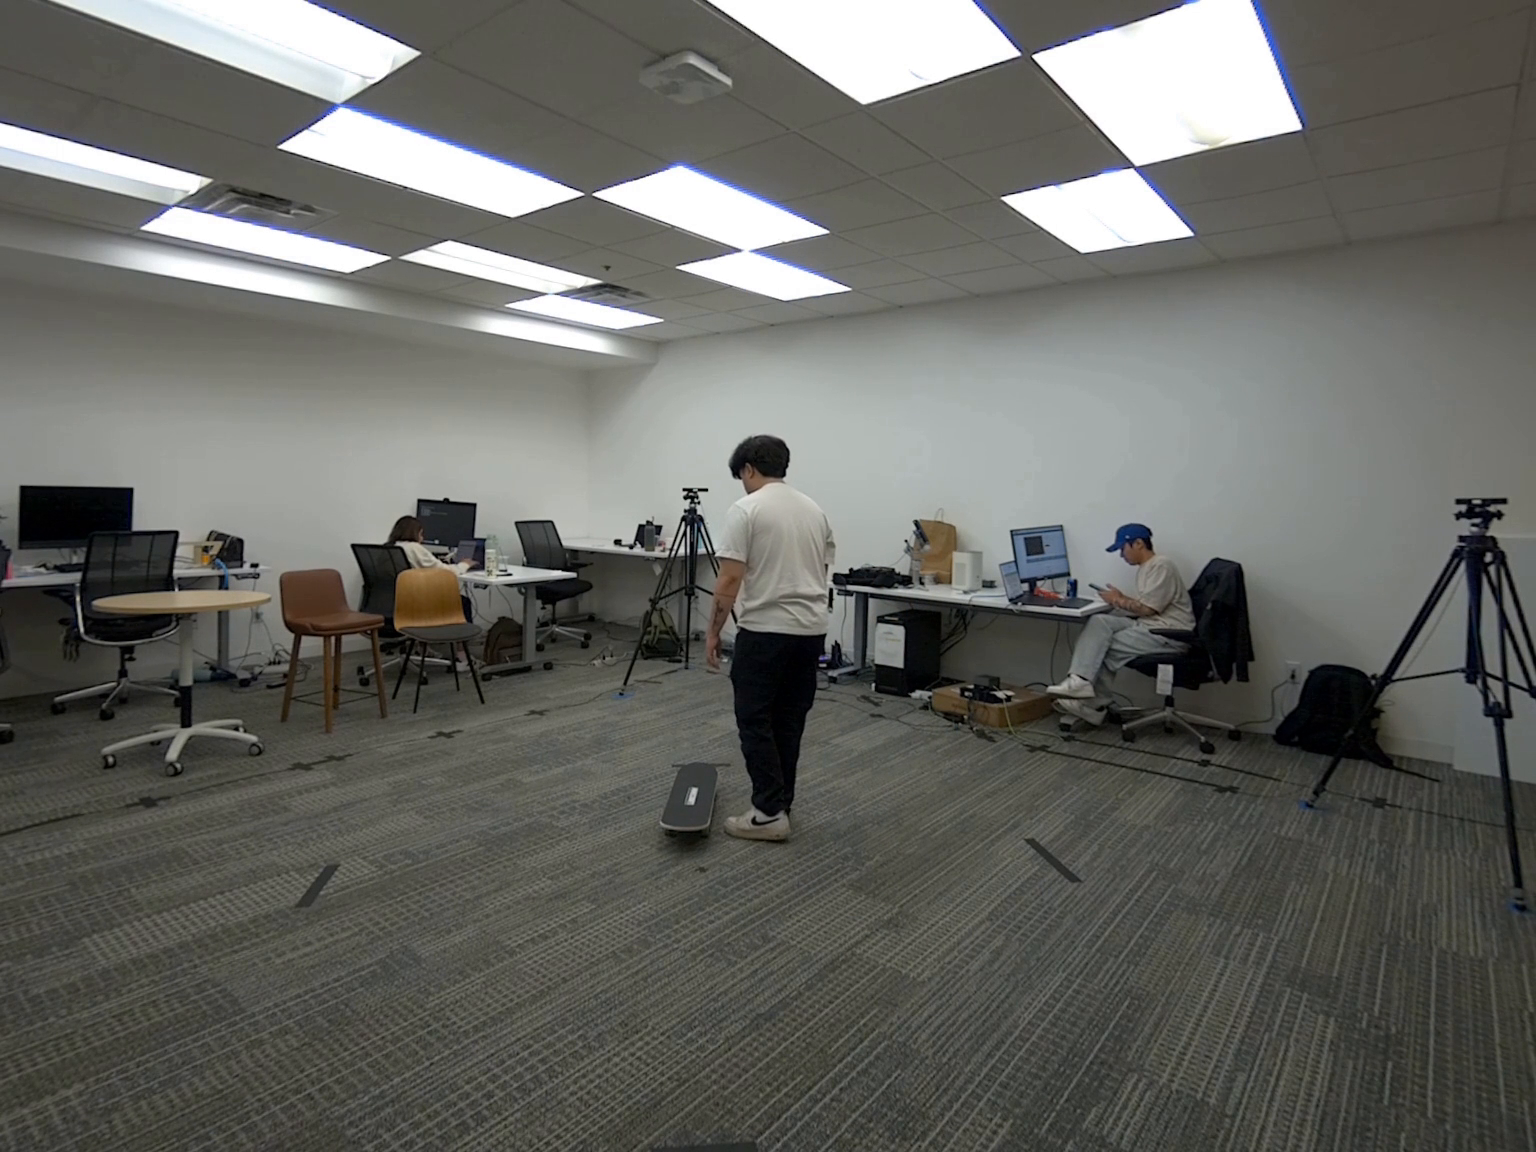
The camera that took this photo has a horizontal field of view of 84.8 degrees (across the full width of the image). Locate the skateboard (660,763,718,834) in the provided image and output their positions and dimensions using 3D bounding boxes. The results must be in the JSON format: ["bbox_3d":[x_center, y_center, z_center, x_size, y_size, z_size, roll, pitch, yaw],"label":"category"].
[{"bbox_3d":[-0.333,0.958,3.604,0.194,0.110,0.786,0,6,1],"label":"skateboard"}]
